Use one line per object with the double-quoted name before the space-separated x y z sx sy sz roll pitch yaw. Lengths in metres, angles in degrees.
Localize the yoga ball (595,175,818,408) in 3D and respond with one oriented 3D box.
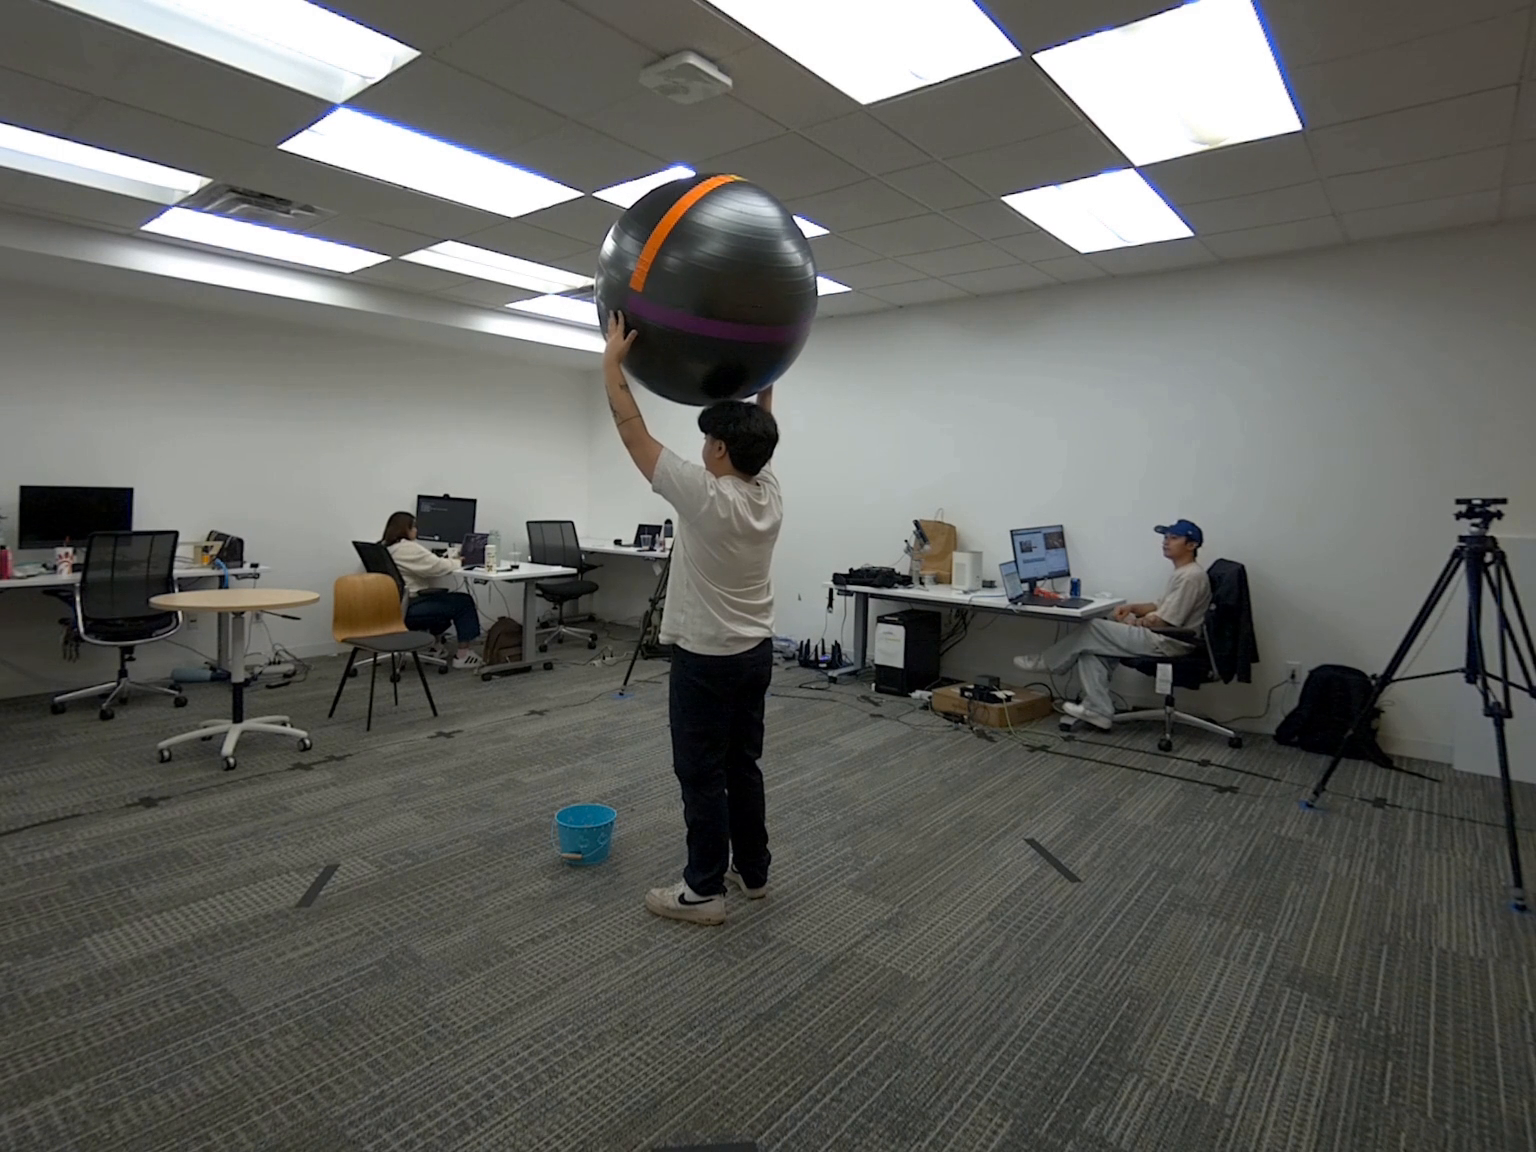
"yoga ball" -0.218 -0.959 2.891 0.757 0.755 0.762 1 4 -2
